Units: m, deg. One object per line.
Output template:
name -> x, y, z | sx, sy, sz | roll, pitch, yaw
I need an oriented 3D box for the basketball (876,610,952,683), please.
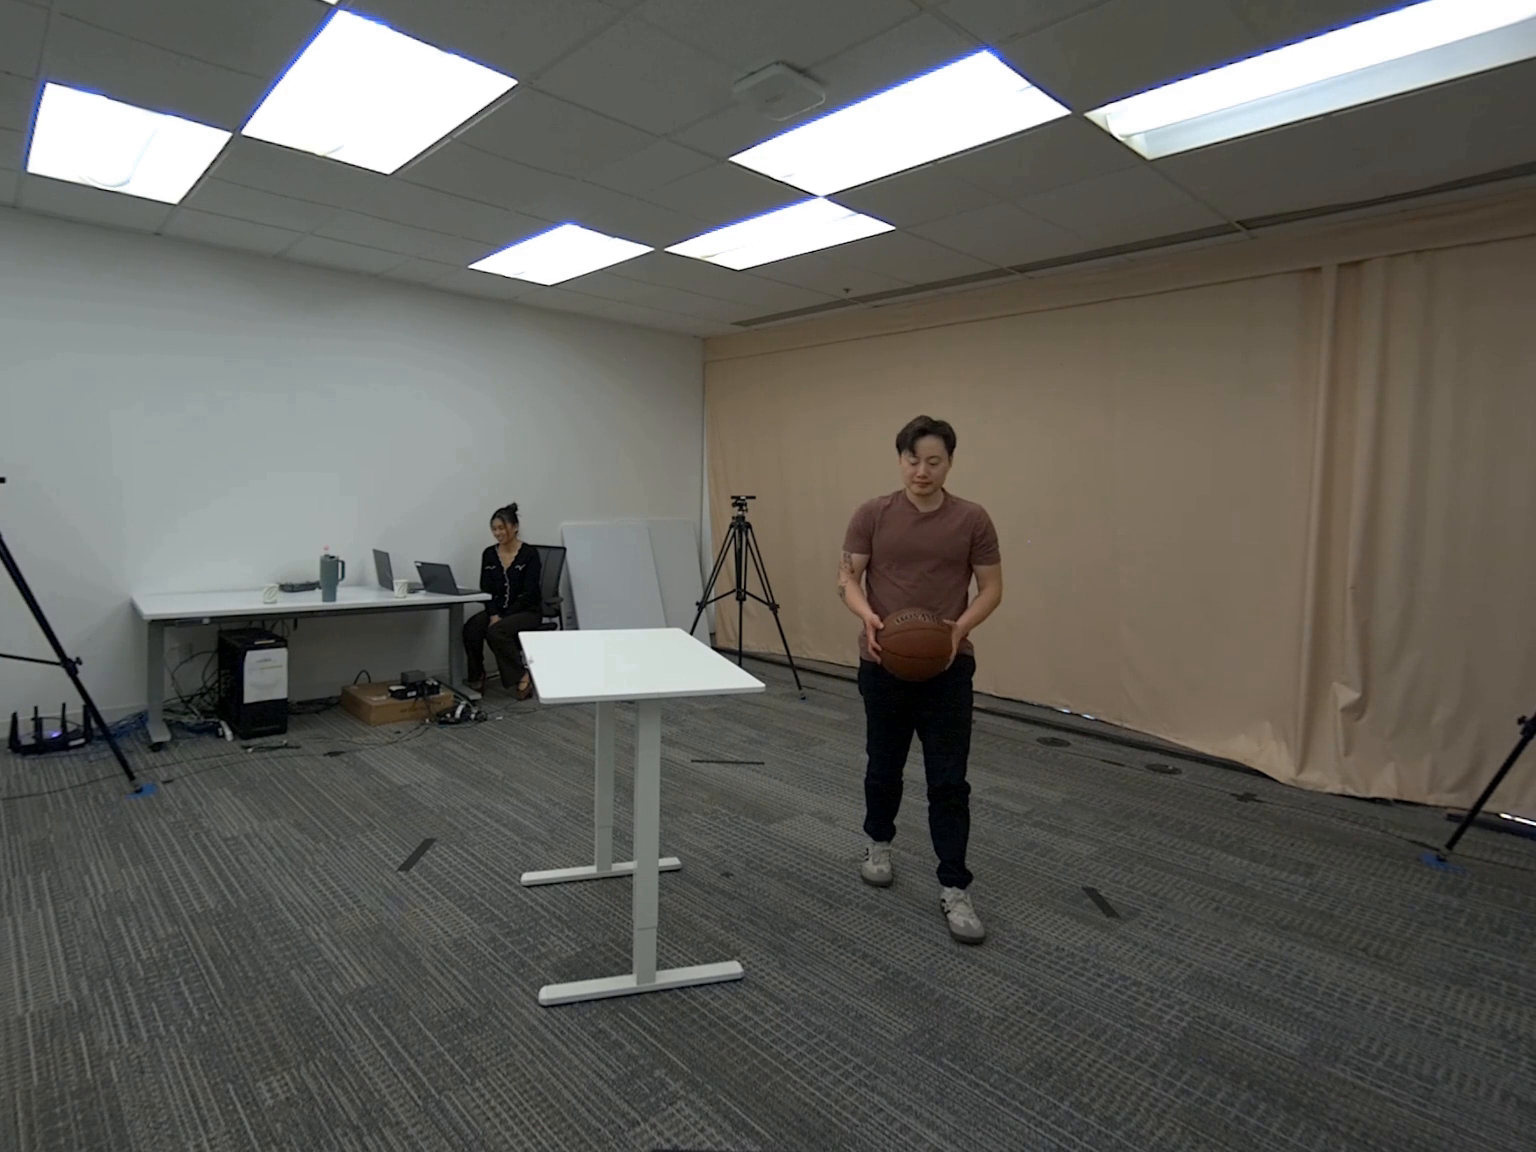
basketball -> 0.457, 0.213, 2.675 | 0.236, 0.235, 0.237 | 1, 4, -1
